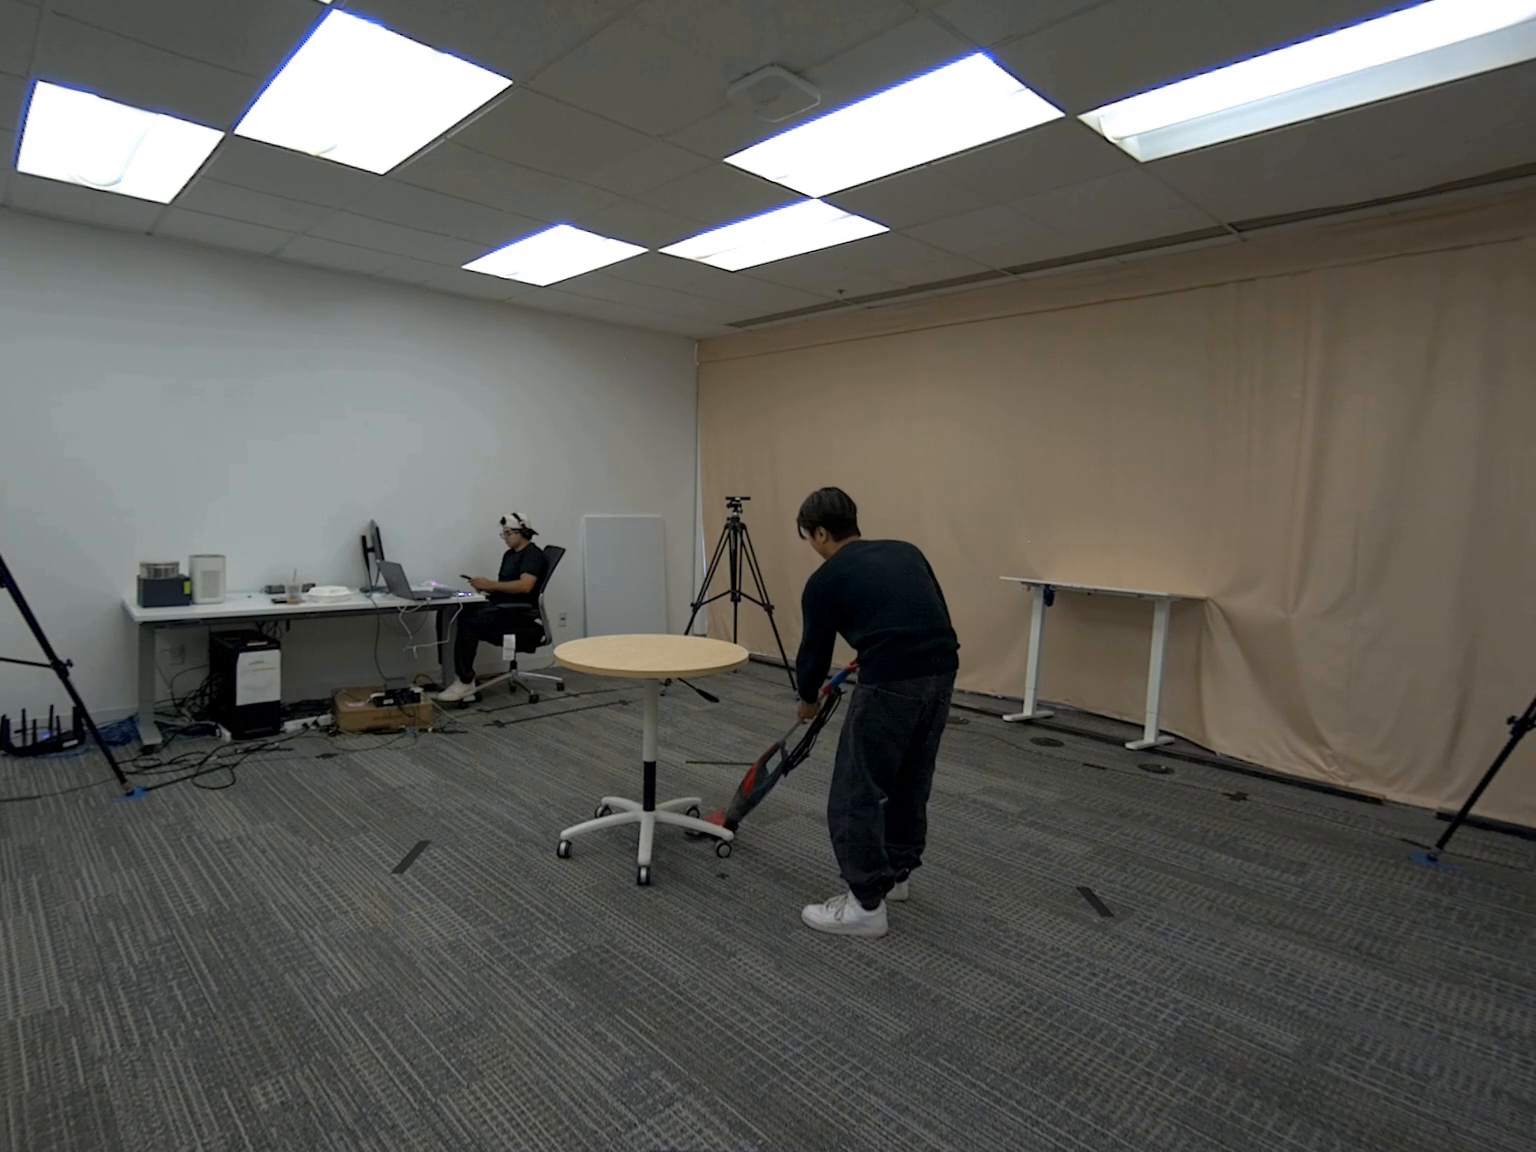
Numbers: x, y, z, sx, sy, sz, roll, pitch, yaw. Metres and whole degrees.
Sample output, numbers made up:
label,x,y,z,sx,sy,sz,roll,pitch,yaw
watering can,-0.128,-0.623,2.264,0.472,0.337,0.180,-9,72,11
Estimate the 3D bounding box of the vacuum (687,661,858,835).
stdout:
label,x,y,z,sx,sy,sz,roll,pitch,yaw
vacuum,0.082,0.680,3.272,0.146,1.047,0.248,47,26,16
